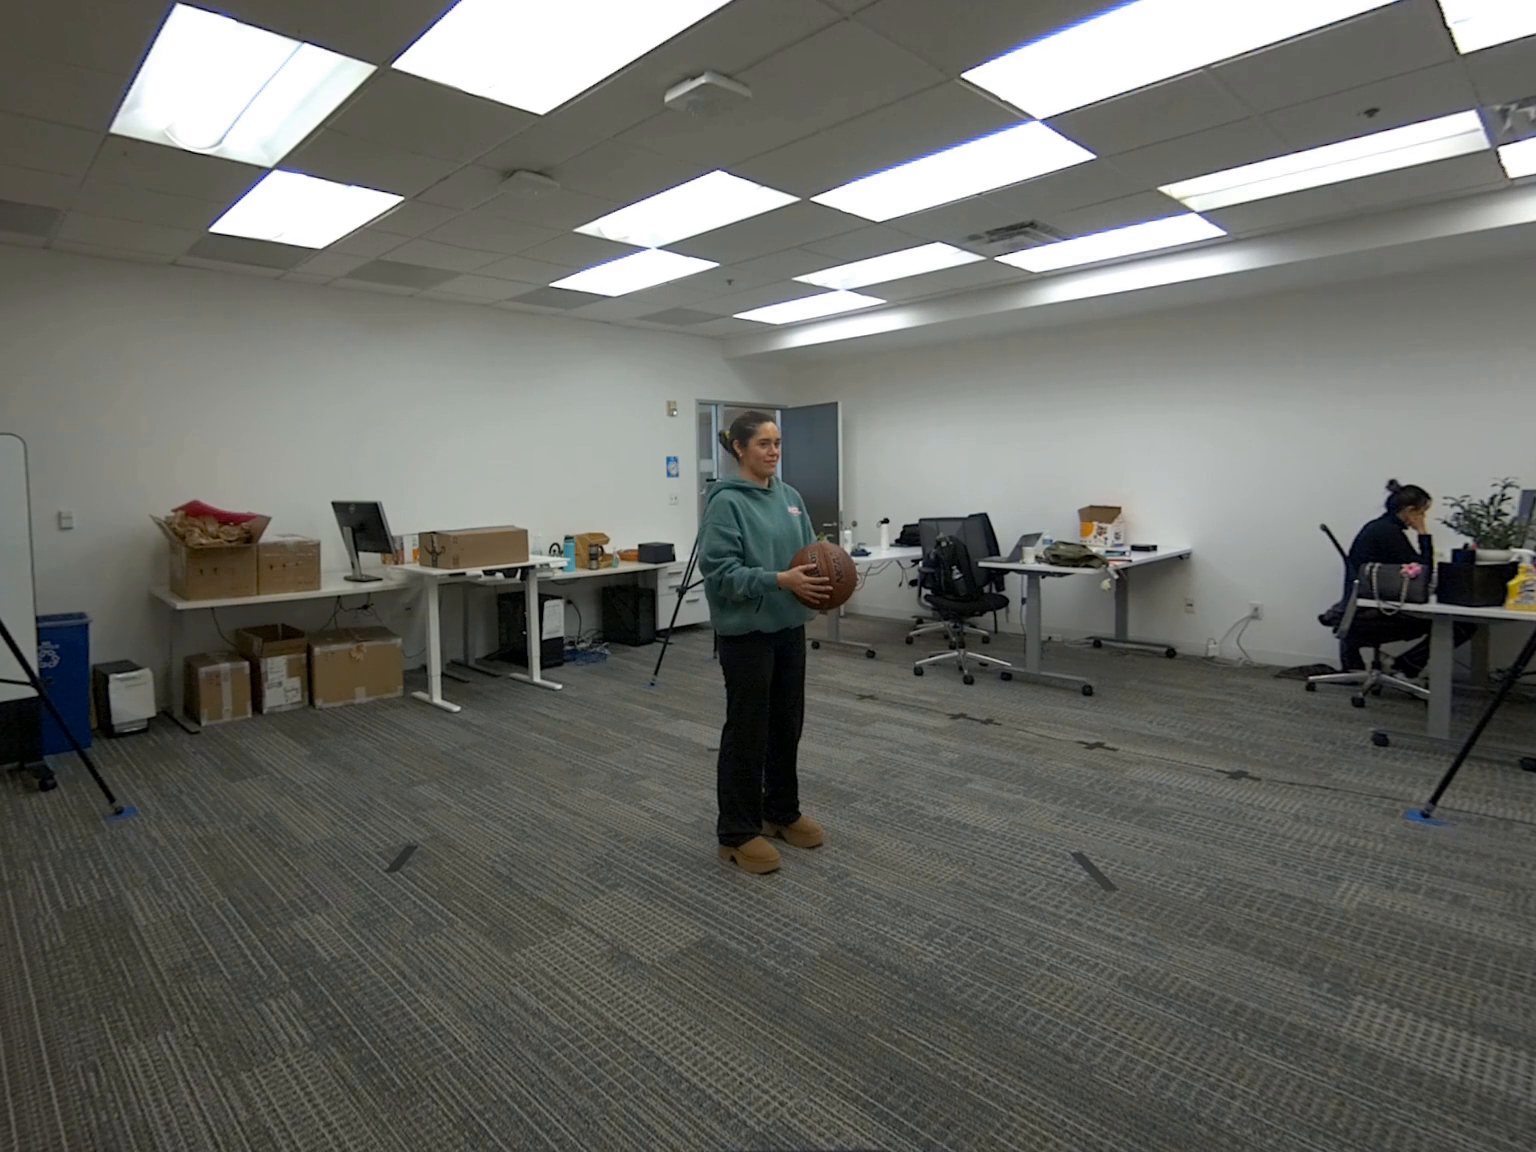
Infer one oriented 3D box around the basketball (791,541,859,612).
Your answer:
[{"bbox_3d":[0.183,0.006,2.927,0.236,0.235,0.237,-1,5,-2],"label":"basketball"}]
